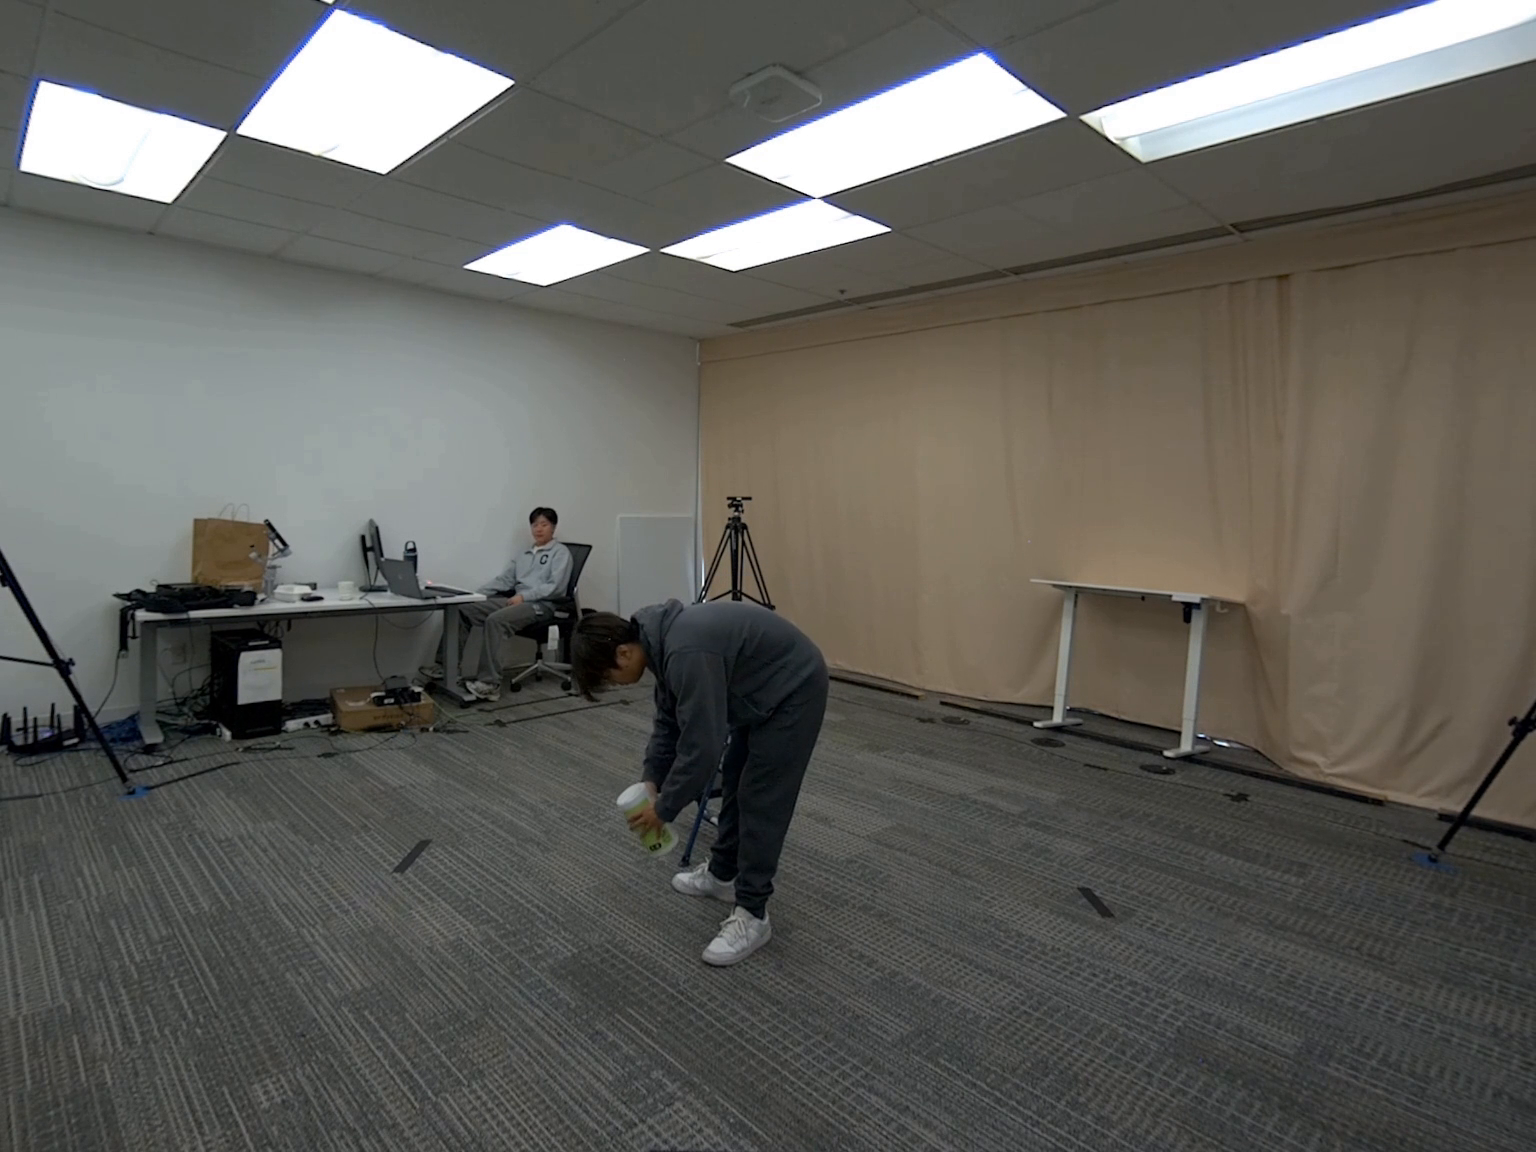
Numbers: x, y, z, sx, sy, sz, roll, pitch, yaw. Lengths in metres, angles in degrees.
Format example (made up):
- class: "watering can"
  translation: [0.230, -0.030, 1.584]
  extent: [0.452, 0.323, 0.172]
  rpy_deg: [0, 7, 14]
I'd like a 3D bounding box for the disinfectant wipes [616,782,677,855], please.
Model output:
- class: "disinfectant wipes"
  translation: [-0.388, 0.768, 2.667]
  extent: [0.118, 0.215, 0.119]
  rpy_deg: [-28, 9, 4]
